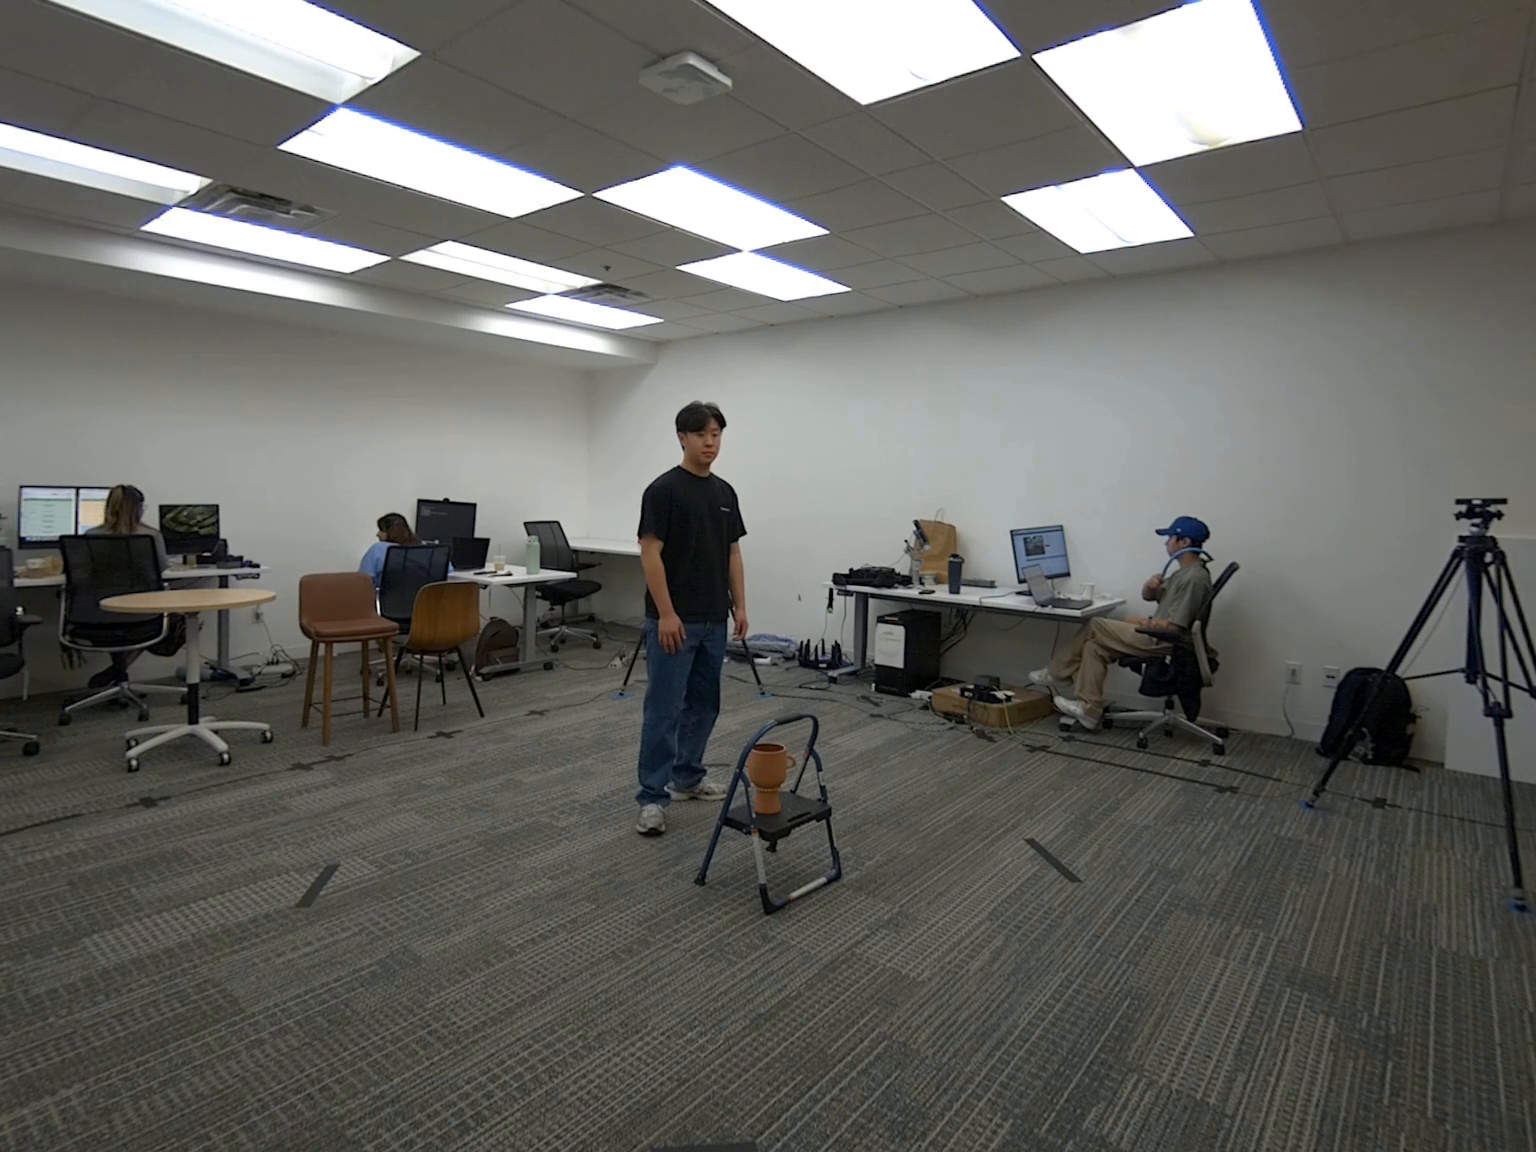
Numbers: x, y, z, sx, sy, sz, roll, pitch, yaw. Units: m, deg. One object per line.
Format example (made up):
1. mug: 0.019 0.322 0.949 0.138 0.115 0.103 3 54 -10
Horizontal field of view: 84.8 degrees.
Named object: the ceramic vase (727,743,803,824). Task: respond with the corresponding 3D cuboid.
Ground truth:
1. ceramic vase: -0.009 0.709 3.001 0.164 0.219 0.130 2 2 39
